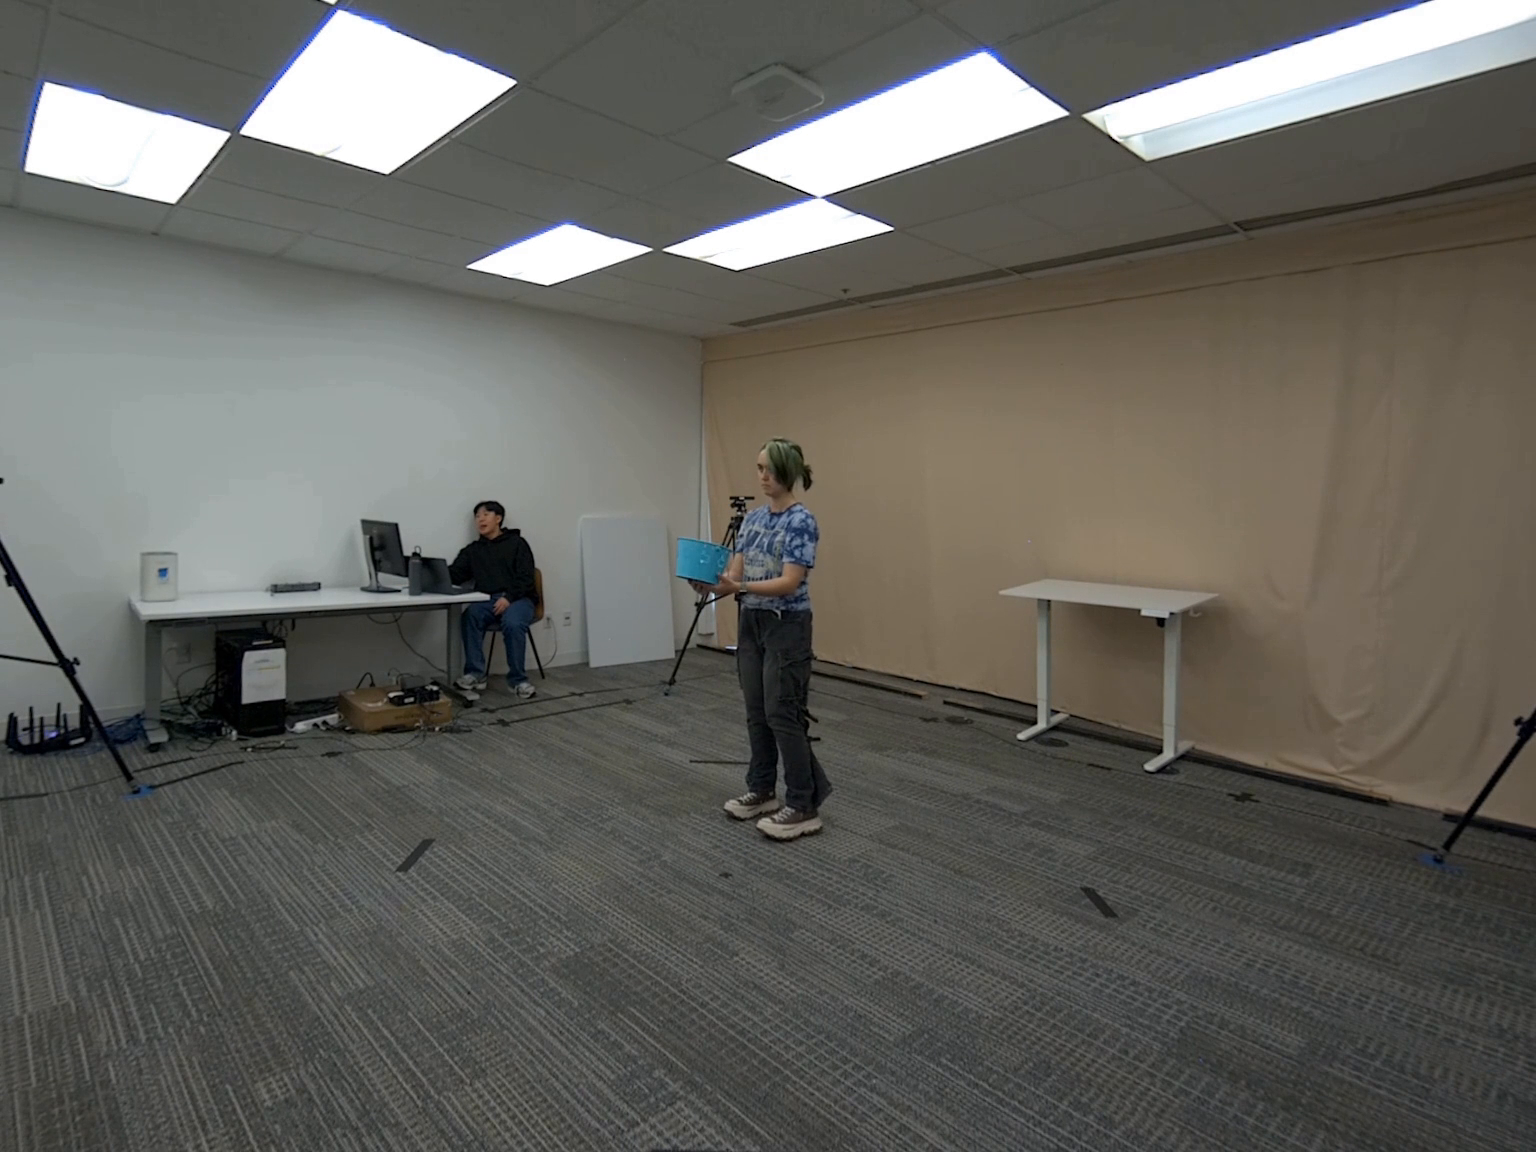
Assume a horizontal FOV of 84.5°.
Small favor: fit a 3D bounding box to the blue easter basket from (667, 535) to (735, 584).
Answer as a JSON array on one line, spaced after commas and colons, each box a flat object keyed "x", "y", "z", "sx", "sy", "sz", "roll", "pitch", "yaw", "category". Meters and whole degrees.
[{"x": -0.263, "y": -0.049, "z": 3.416, "sx": 0.244, "sy": 0.156, "sz": 0.242, "roll": 12, "pitch": -5, "yaw": 0, "category": "blue easter basket"}]
